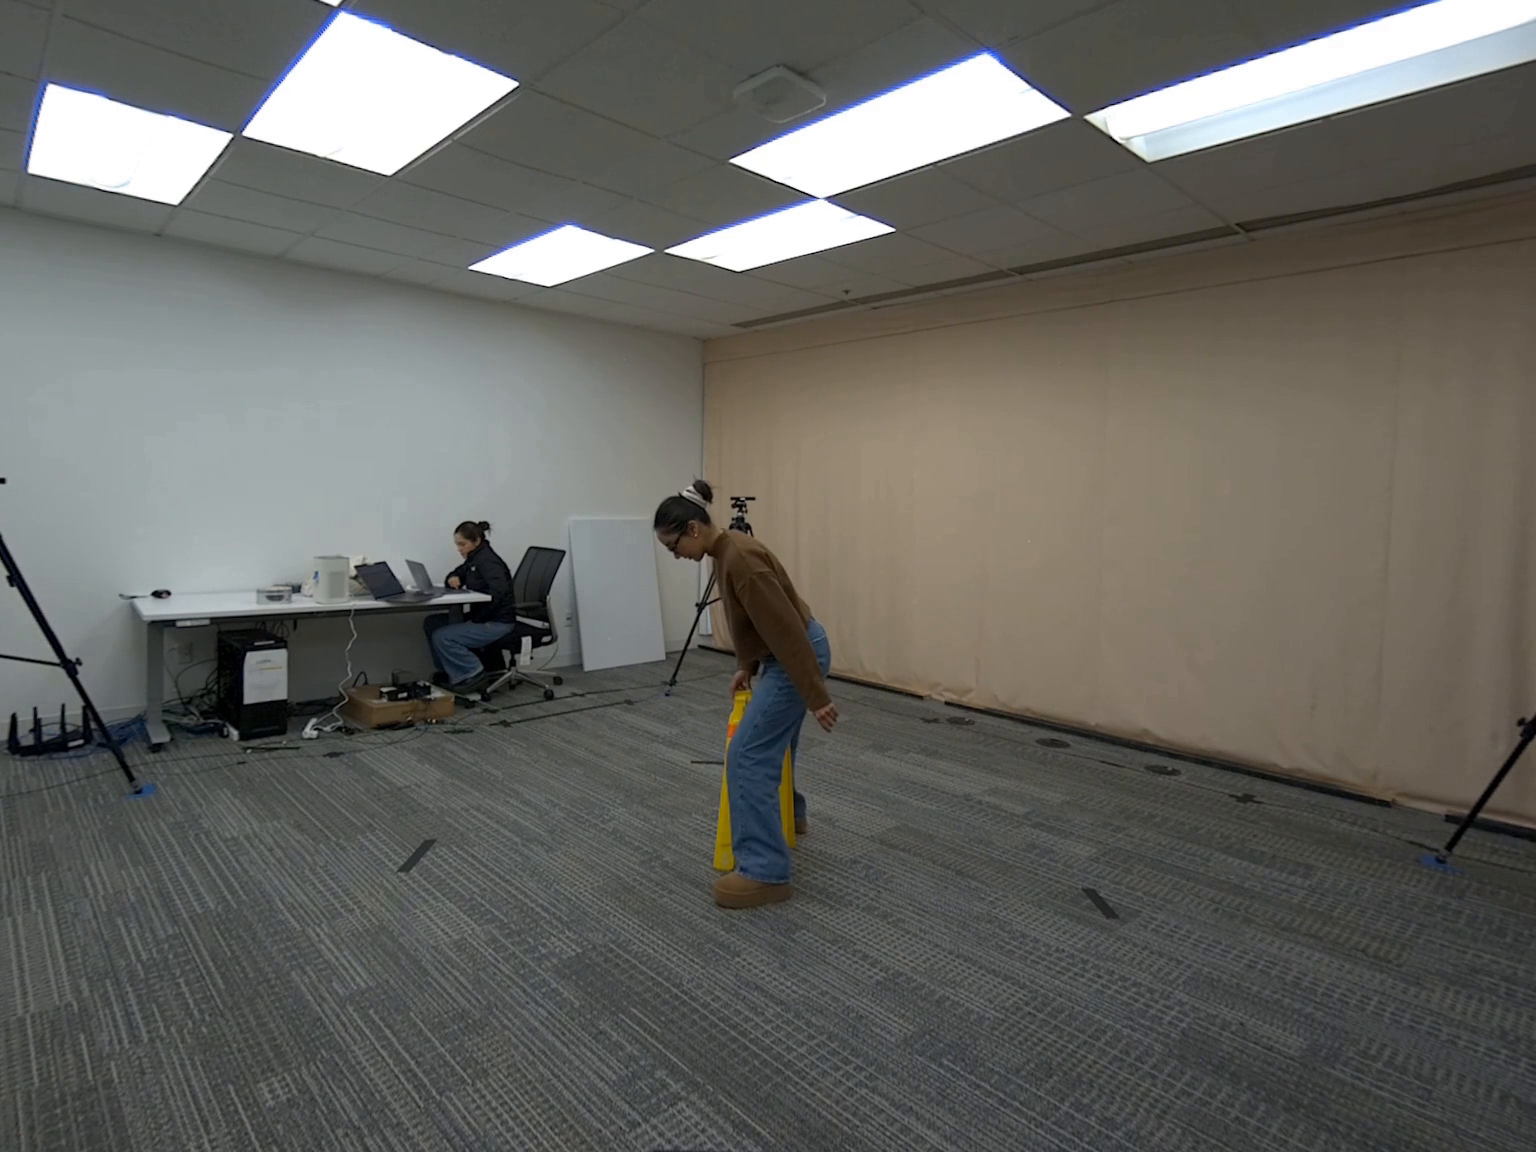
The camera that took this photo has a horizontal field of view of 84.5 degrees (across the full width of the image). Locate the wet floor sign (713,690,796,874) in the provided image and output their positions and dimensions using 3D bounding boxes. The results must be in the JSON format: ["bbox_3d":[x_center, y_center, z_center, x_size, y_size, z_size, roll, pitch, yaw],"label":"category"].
[{"bbox_3d":[-0.055,0.782,3.259,0.285,0.645,0.288,2,3,10],"label":"wet floor sign"}]
